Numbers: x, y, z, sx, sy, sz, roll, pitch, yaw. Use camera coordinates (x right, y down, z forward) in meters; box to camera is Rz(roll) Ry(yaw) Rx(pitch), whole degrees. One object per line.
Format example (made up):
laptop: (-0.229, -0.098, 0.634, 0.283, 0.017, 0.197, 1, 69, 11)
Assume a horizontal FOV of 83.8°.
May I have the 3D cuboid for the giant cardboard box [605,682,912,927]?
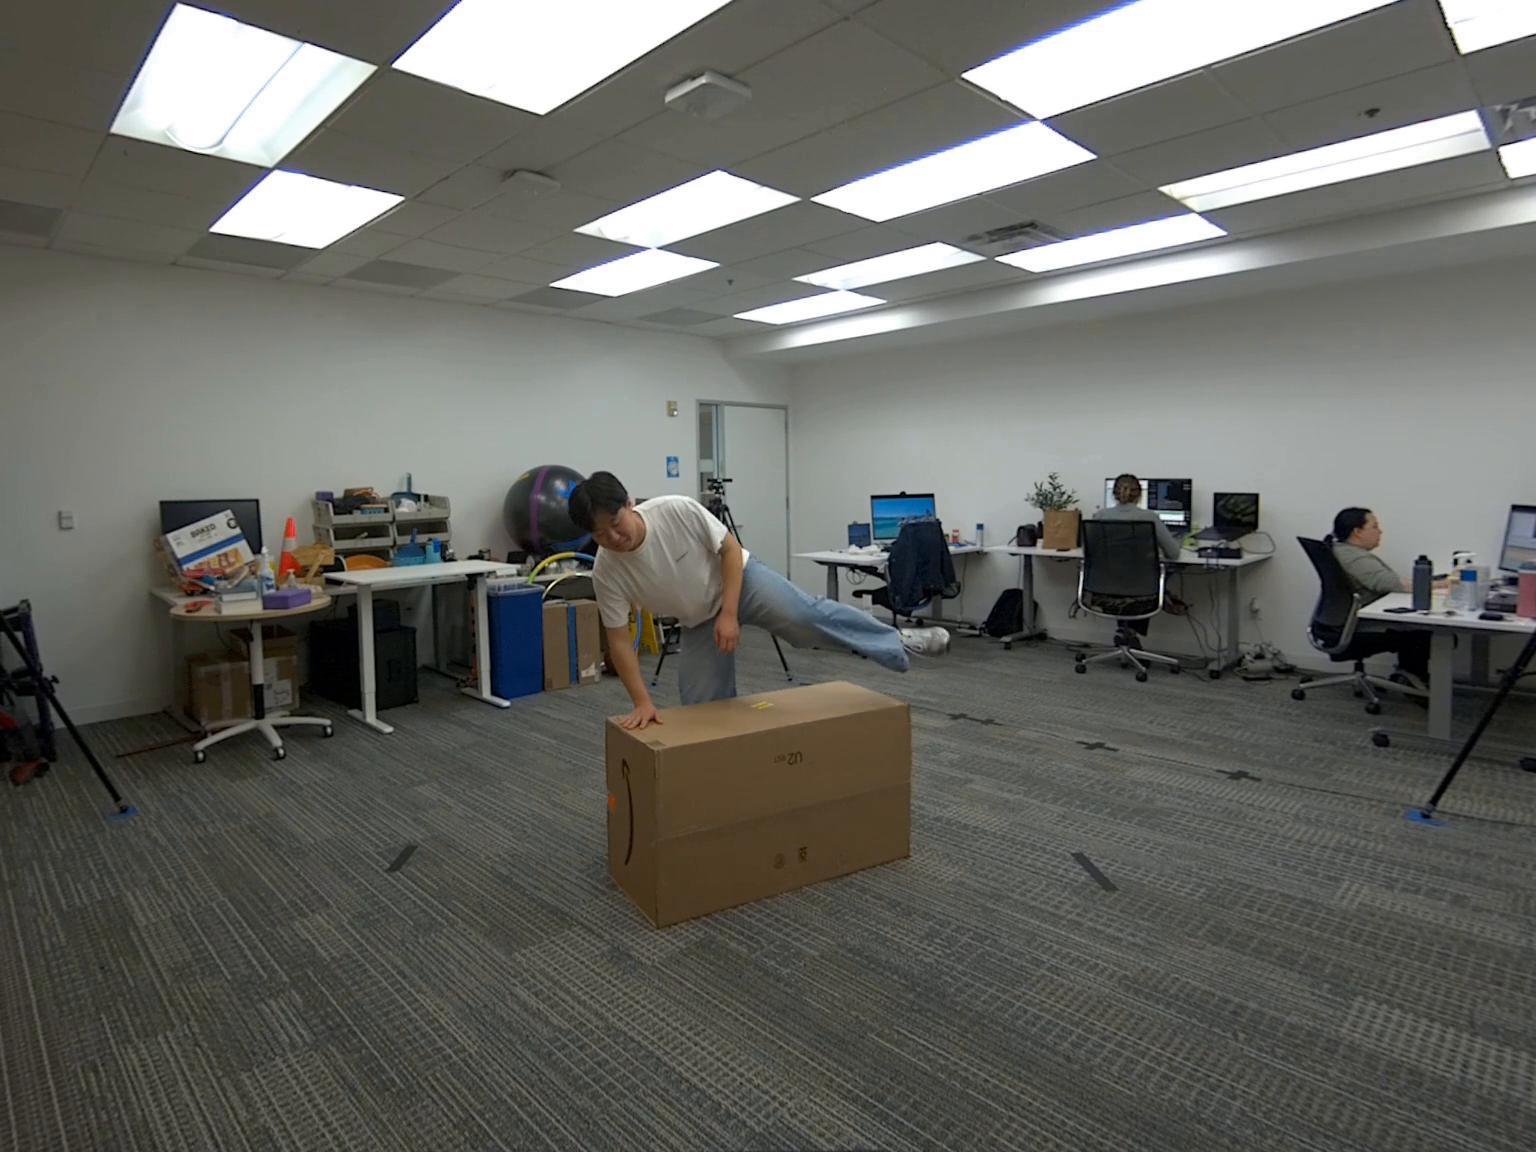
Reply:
giant cardboard box: (-0.022, 0.762, 3.062, 1.003, 0.575, 0.438, -4, 6, -29)
